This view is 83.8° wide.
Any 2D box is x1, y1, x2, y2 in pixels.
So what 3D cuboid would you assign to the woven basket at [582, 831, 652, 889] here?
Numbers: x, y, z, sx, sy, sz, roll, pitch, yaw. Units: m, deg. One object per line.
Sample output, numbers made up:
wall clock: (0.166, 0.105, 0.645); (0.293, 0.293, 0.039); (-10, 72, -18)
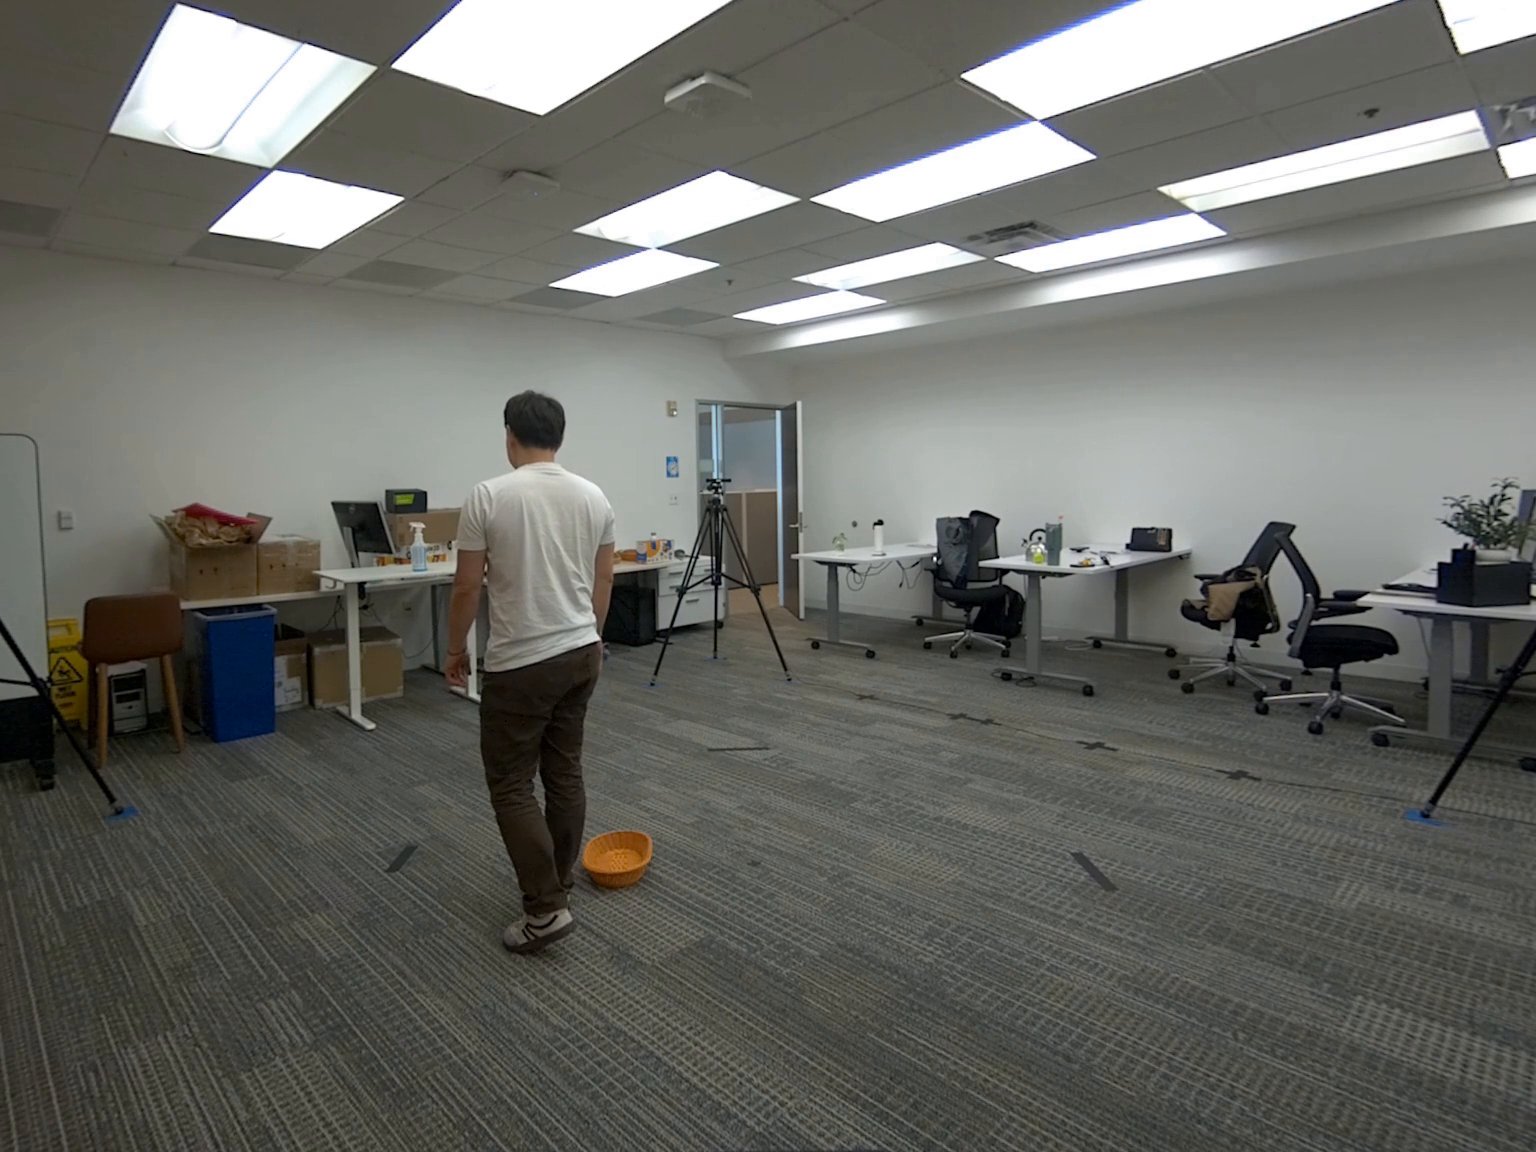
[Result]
woven basket: (-0.540, 1.017, 3.073); (0.252, 0.073, 0.353); (-2, 7, -4)
